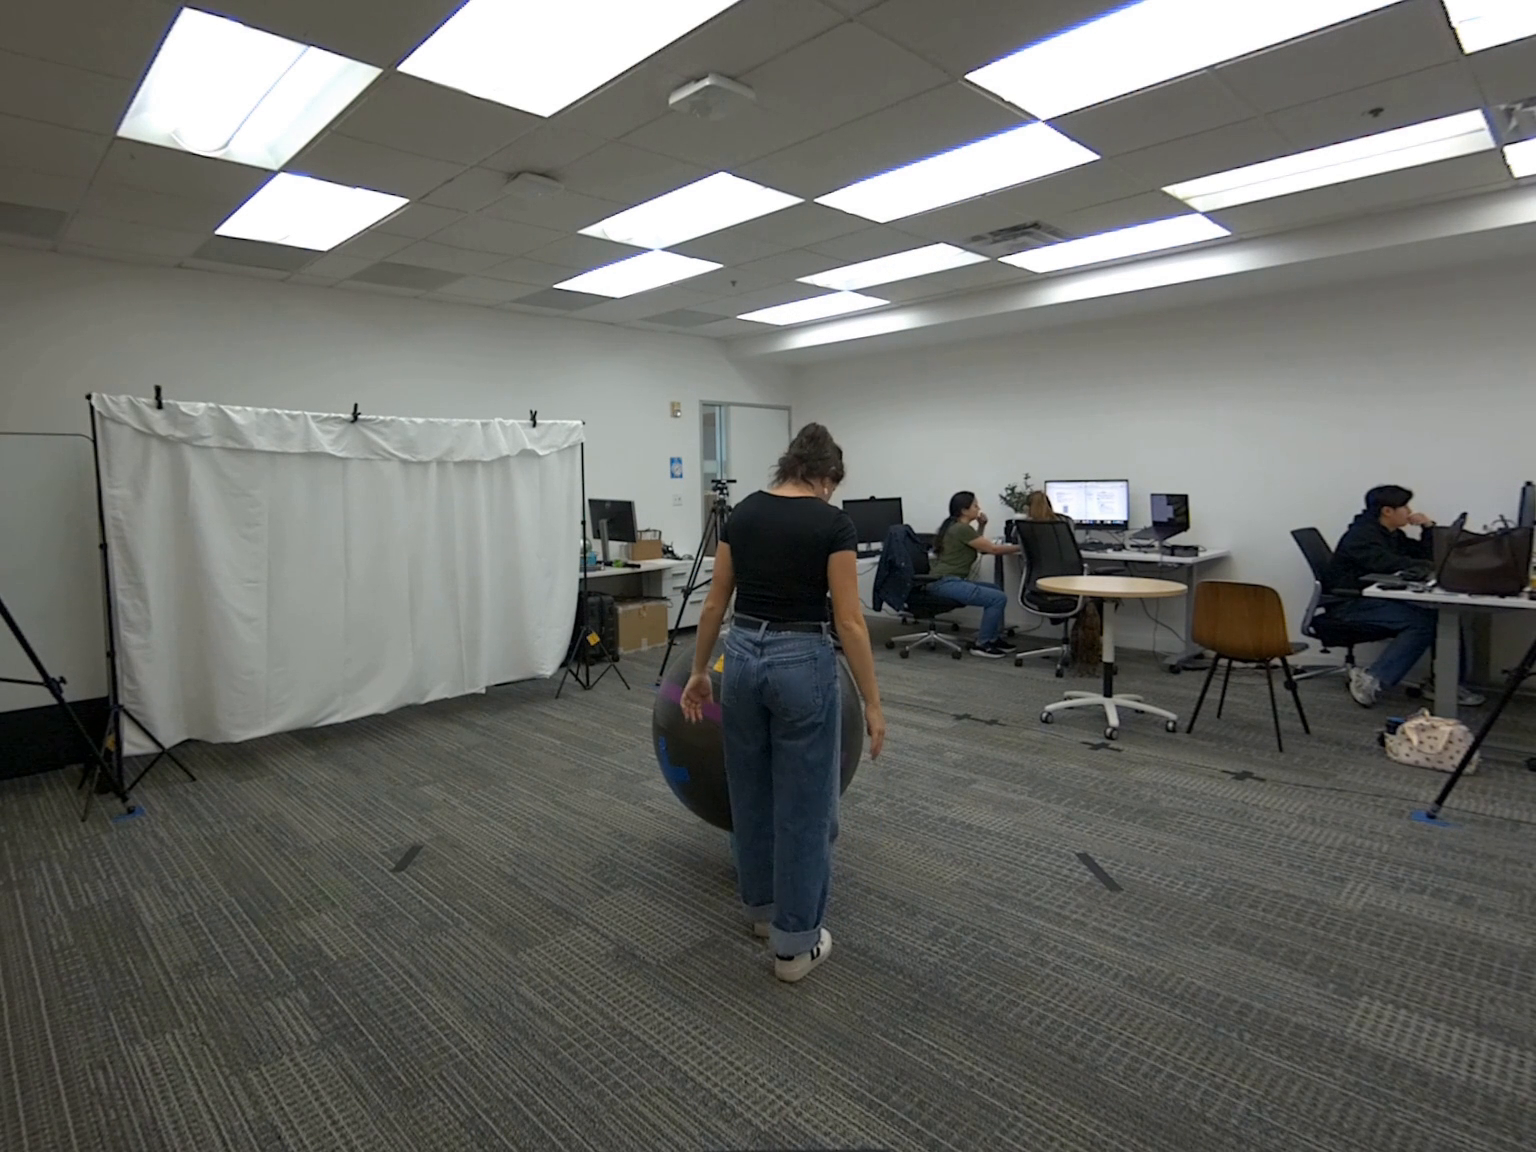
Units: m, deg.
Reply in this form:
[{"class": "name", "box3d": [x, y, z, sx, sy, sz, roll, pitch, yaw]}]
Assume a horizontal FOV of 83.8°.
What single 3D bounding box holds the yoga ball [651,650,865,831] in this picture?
[{"class": "yoga ball", "box3d": [-0.041, 0.535, 3.083, 0.757, 0.755, 0.762, -1, 5, -2]}]
